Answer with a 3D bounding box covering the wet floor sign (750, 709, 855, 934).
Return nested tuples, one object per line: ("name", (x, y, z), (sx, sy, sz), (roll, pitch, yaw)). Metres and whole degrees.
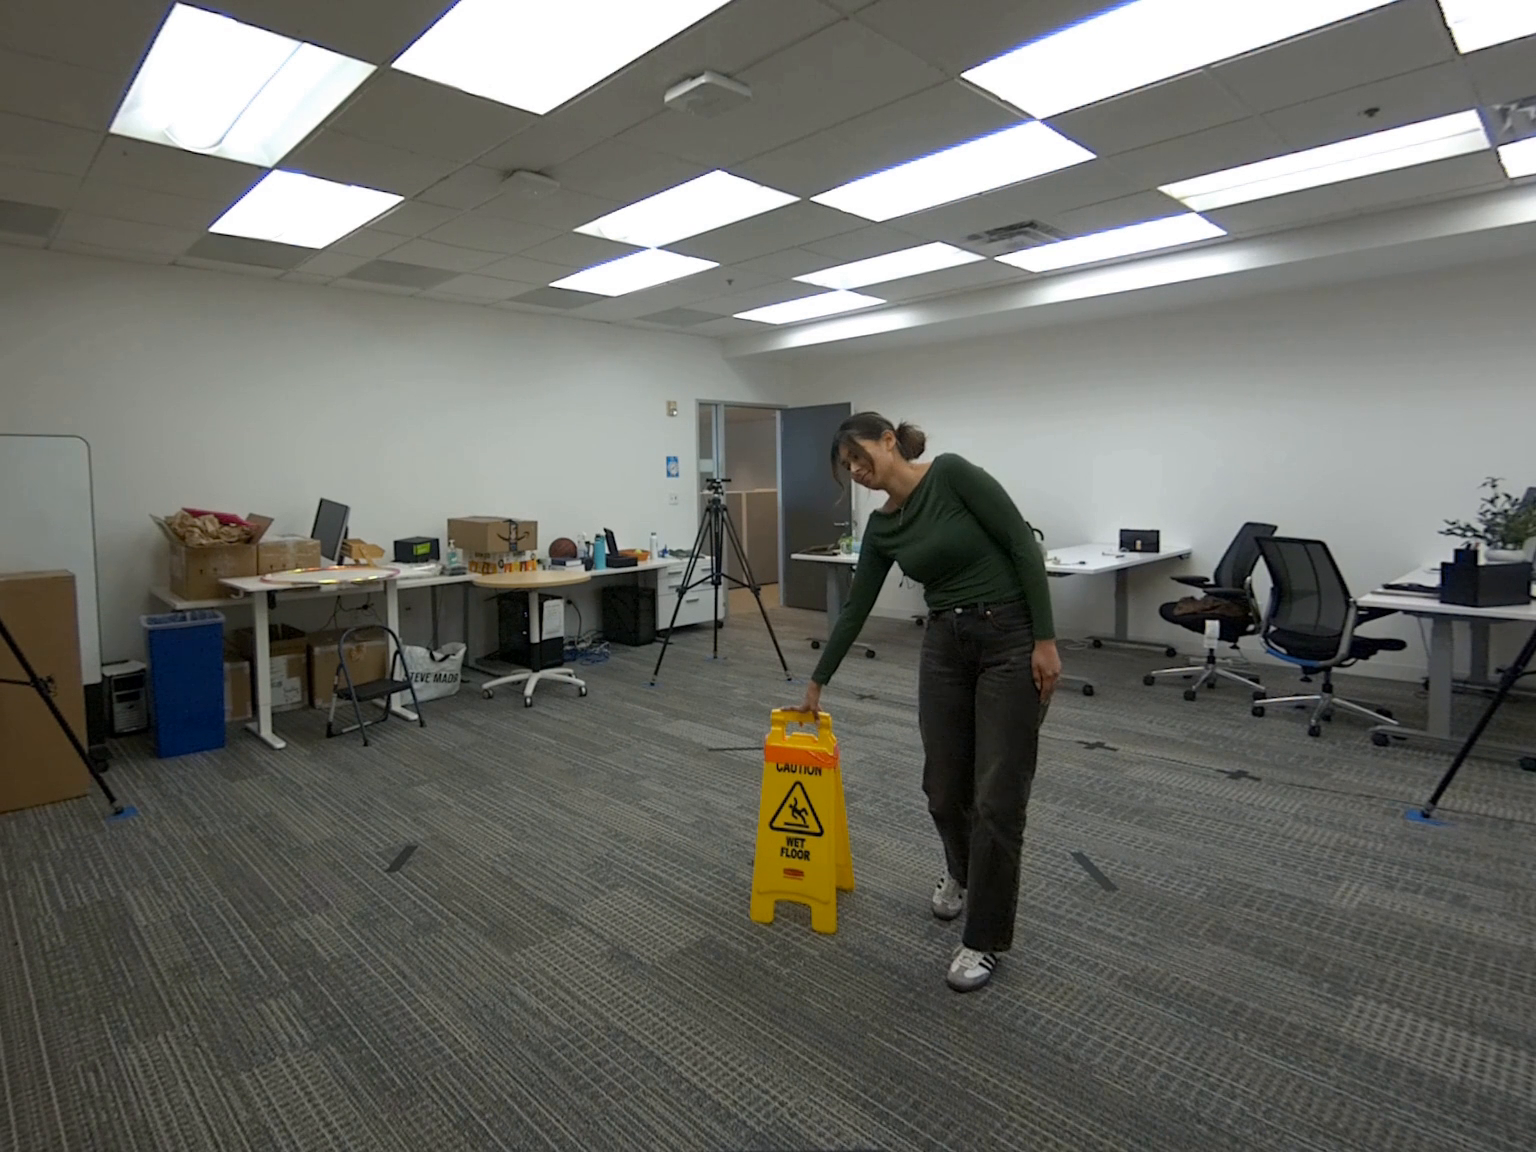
("wet floor sign", (0.117, 0.757, 2.783), (0.288, 0.644, 0.285), (2, 4, 19))
